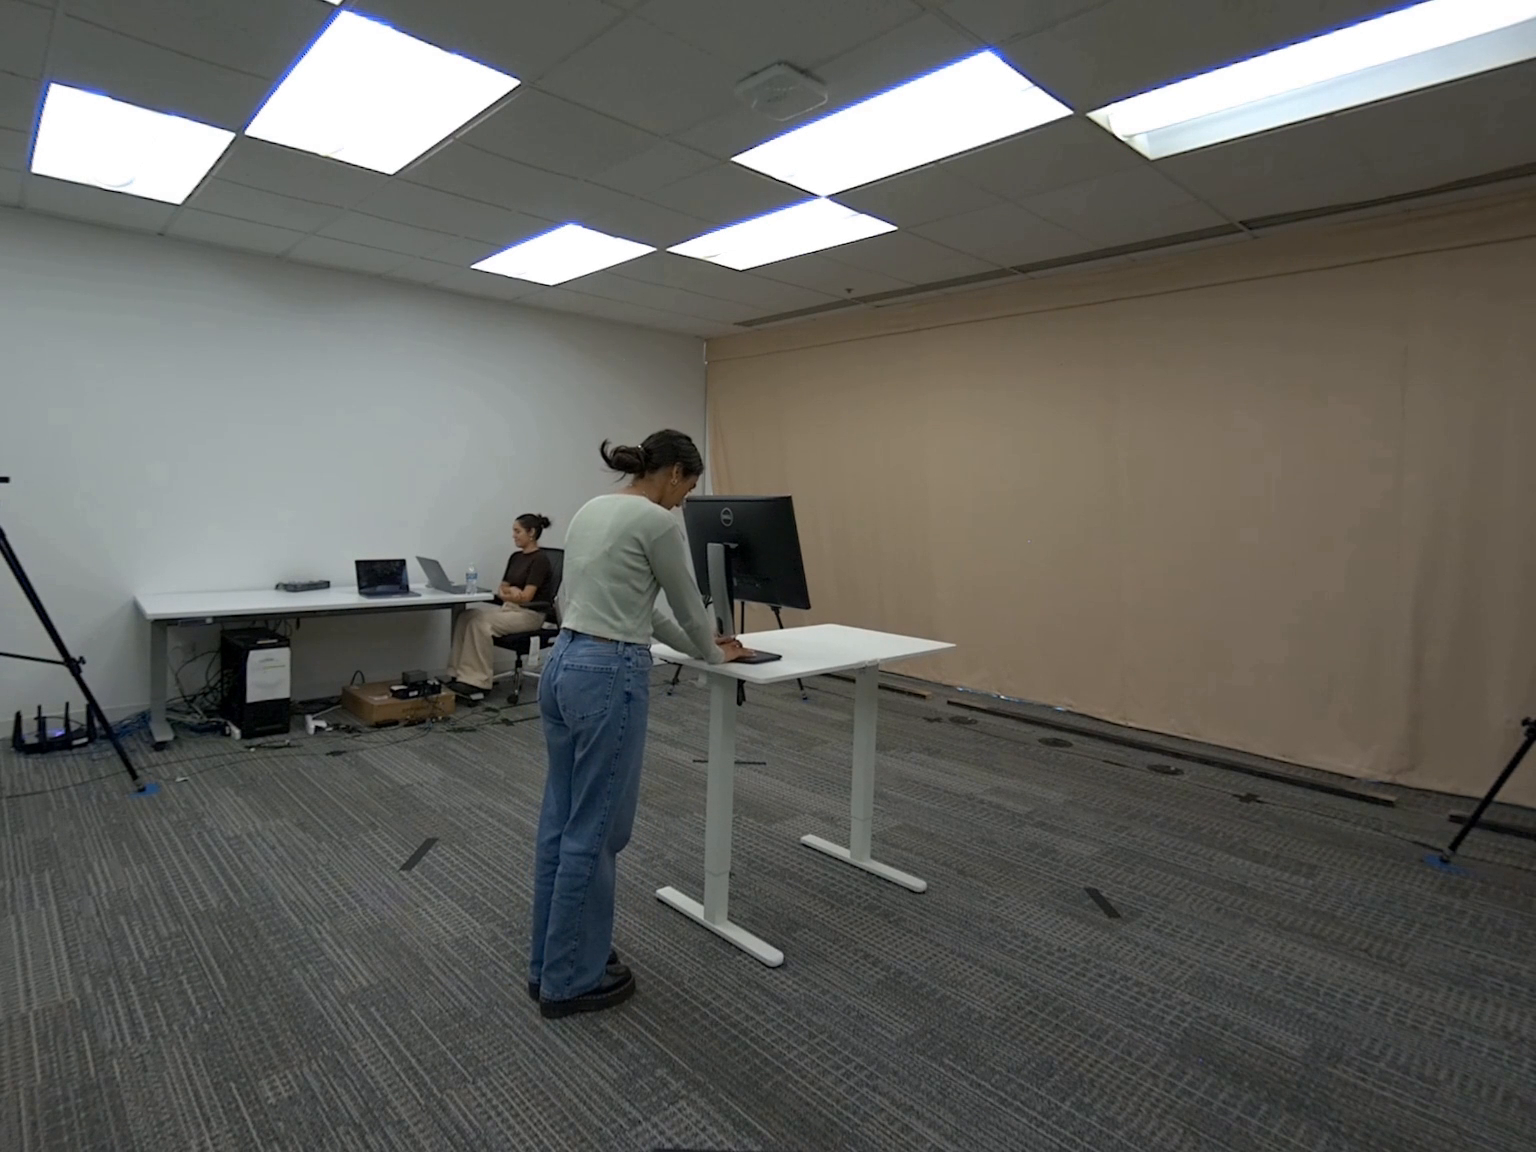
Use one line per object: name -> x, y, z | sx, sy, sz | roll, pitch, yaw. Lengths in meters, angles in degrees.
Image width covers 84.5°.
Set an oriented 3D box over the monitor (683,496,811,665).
monitor -> -0.108, 0.006, 2.671 | 0.183, 0.521, 0.553 | -4, 6, -43
